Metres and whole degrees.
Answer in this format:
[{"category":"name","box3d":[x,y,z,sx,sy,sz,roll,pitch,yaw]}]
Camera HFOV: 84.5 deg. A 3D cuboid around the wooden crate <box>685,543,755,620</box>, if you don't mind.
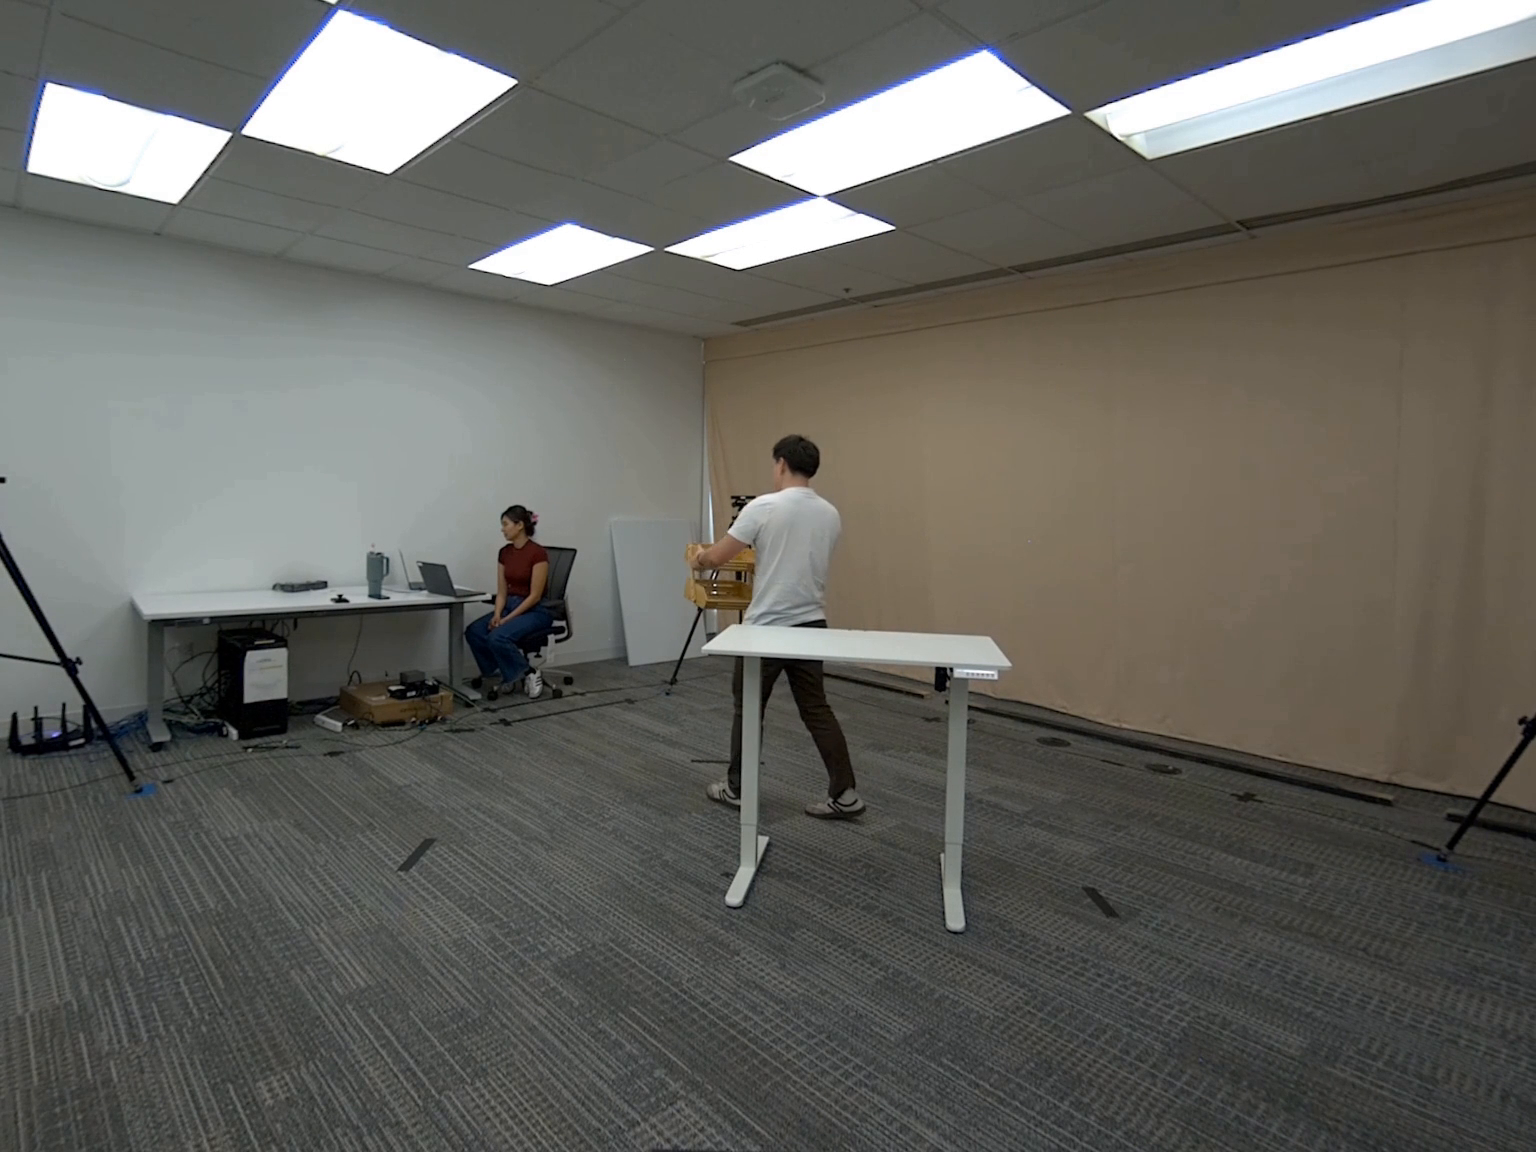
[{"category":"wooden crate","box3d":[-0.214,-0.003,4.014,0.318,0.272,0.310,3,10,-27]}]
